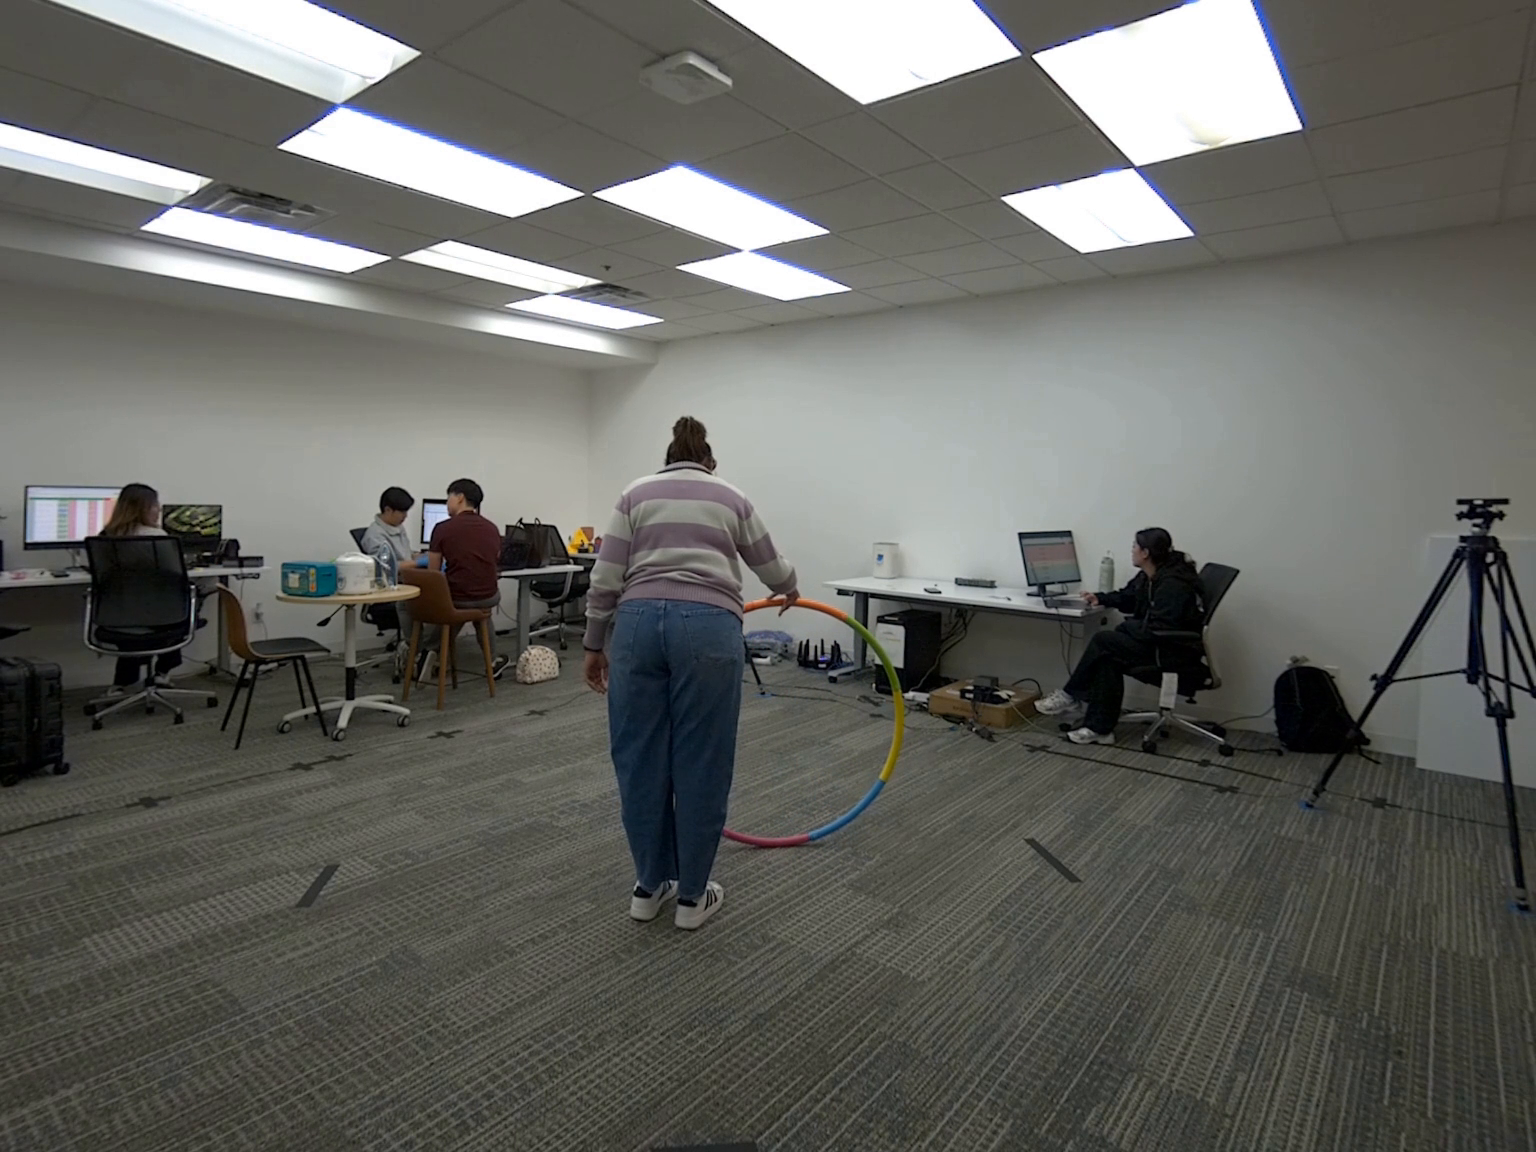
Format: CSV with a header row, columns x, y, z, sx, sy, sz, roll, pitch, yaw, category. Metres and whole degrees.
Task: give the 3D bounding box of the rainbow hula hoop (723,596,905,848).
x,y,z,sx,sy,sz,roll,pitch,yaw,category
0.052,0.574,3.289,0.969,0.973,0.036,0,6,-9,rainbow hula hoop
